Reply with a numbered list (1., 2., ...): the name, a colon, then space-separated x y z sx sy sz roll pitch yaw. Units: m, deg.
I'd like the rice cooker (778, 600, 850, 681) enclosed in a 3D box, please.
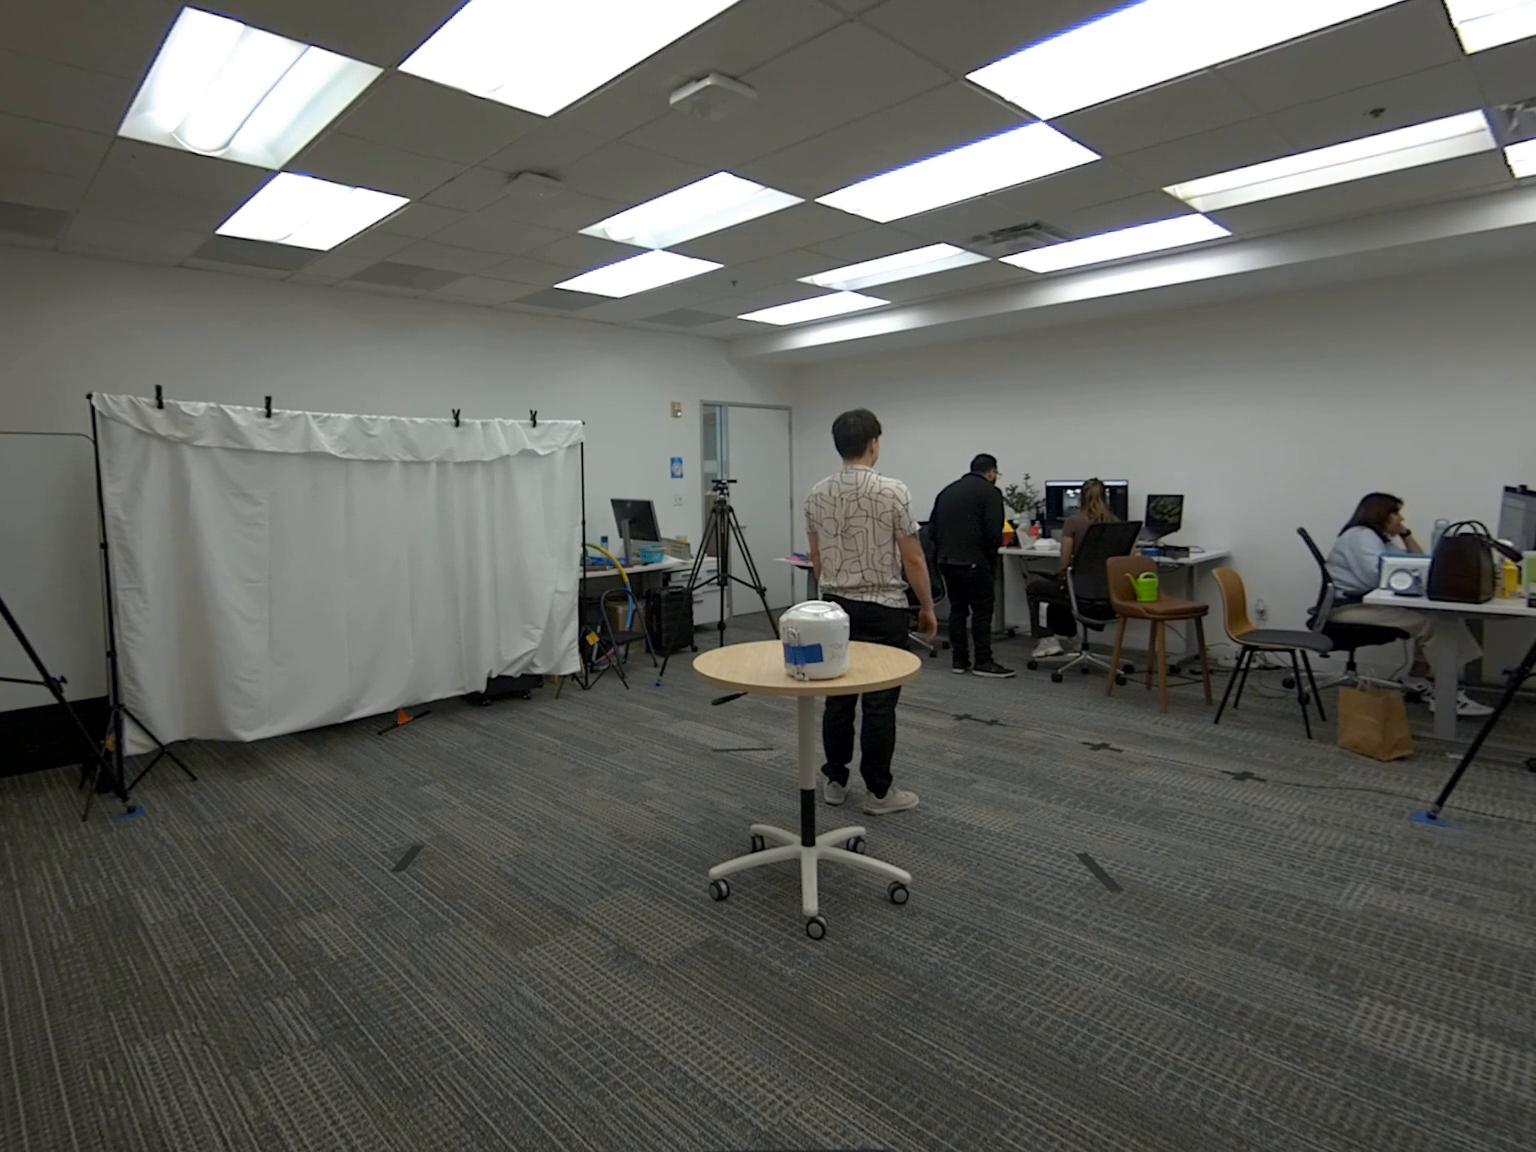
1. rice cooker: 0.148 0.193 2.682 0.219 0.232 0.220 -2 5 -8
